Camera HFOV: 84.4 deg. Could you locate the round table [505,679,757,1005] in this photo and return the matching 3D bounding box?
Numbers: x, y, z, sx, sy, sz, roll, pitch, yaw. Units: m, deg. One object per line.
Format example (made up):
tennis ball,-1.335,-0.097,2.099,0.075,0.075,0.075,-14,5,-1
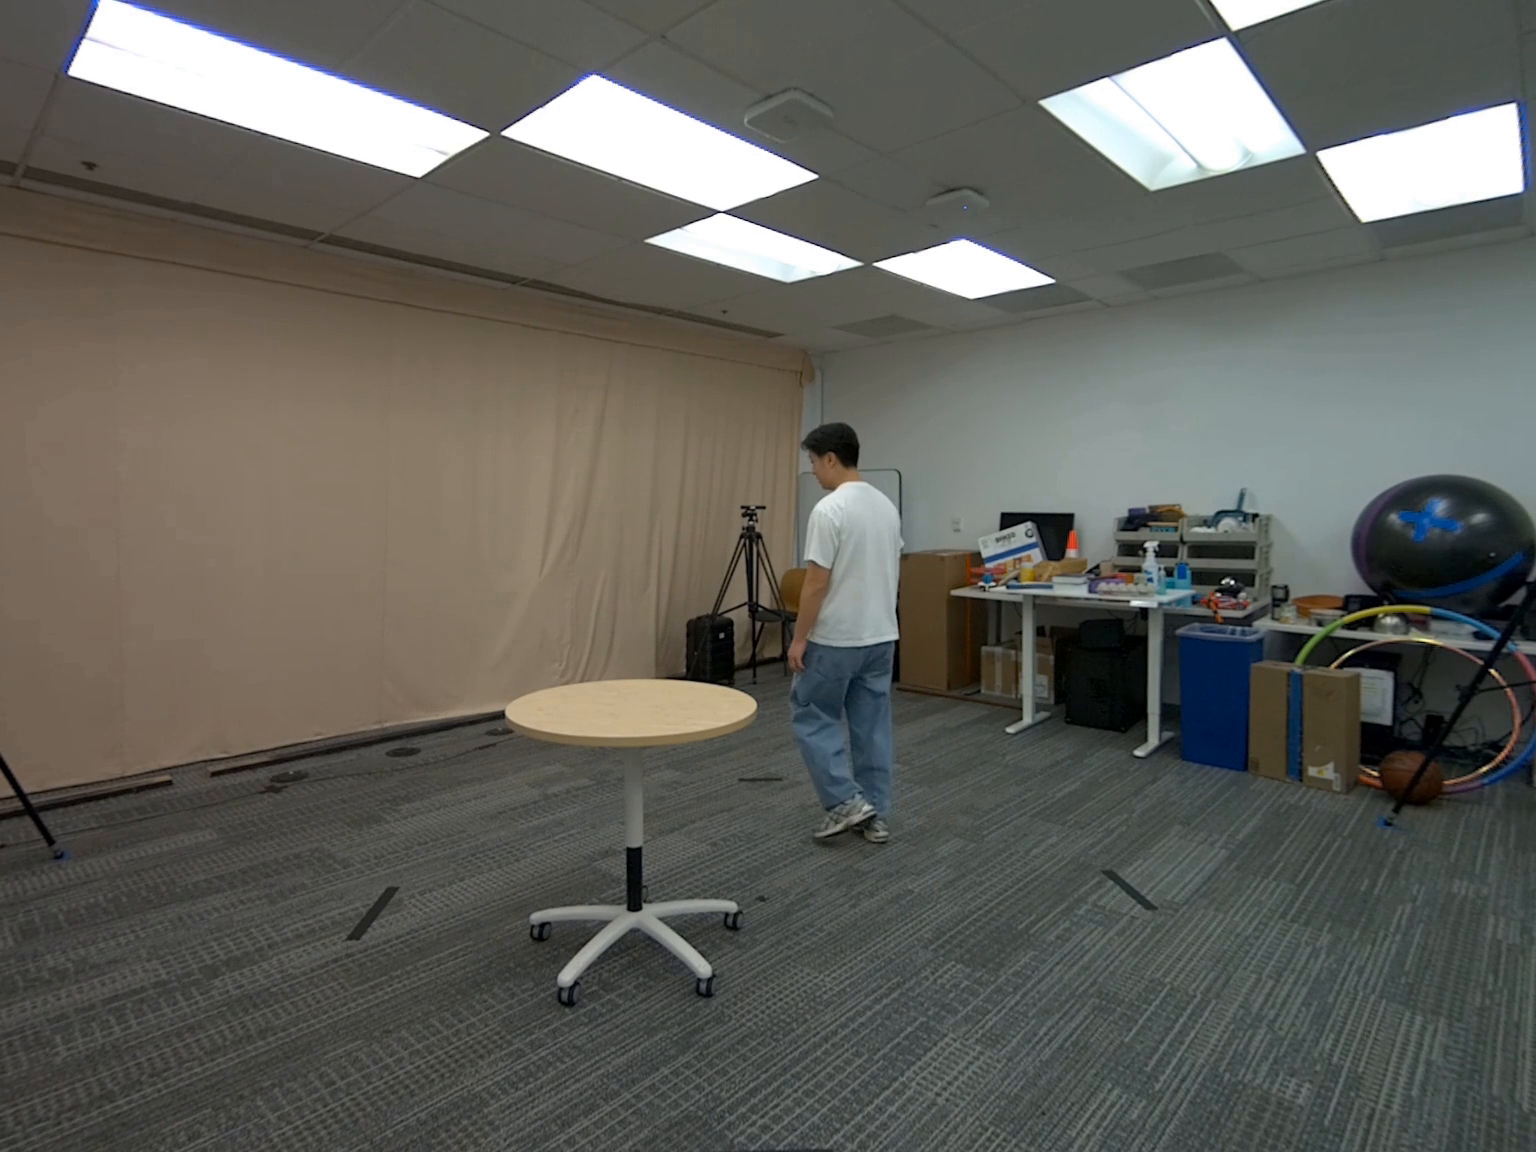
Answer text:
round table,-0.407,0.789,2.609,0.763,0.792,0.767,0,4,-2
